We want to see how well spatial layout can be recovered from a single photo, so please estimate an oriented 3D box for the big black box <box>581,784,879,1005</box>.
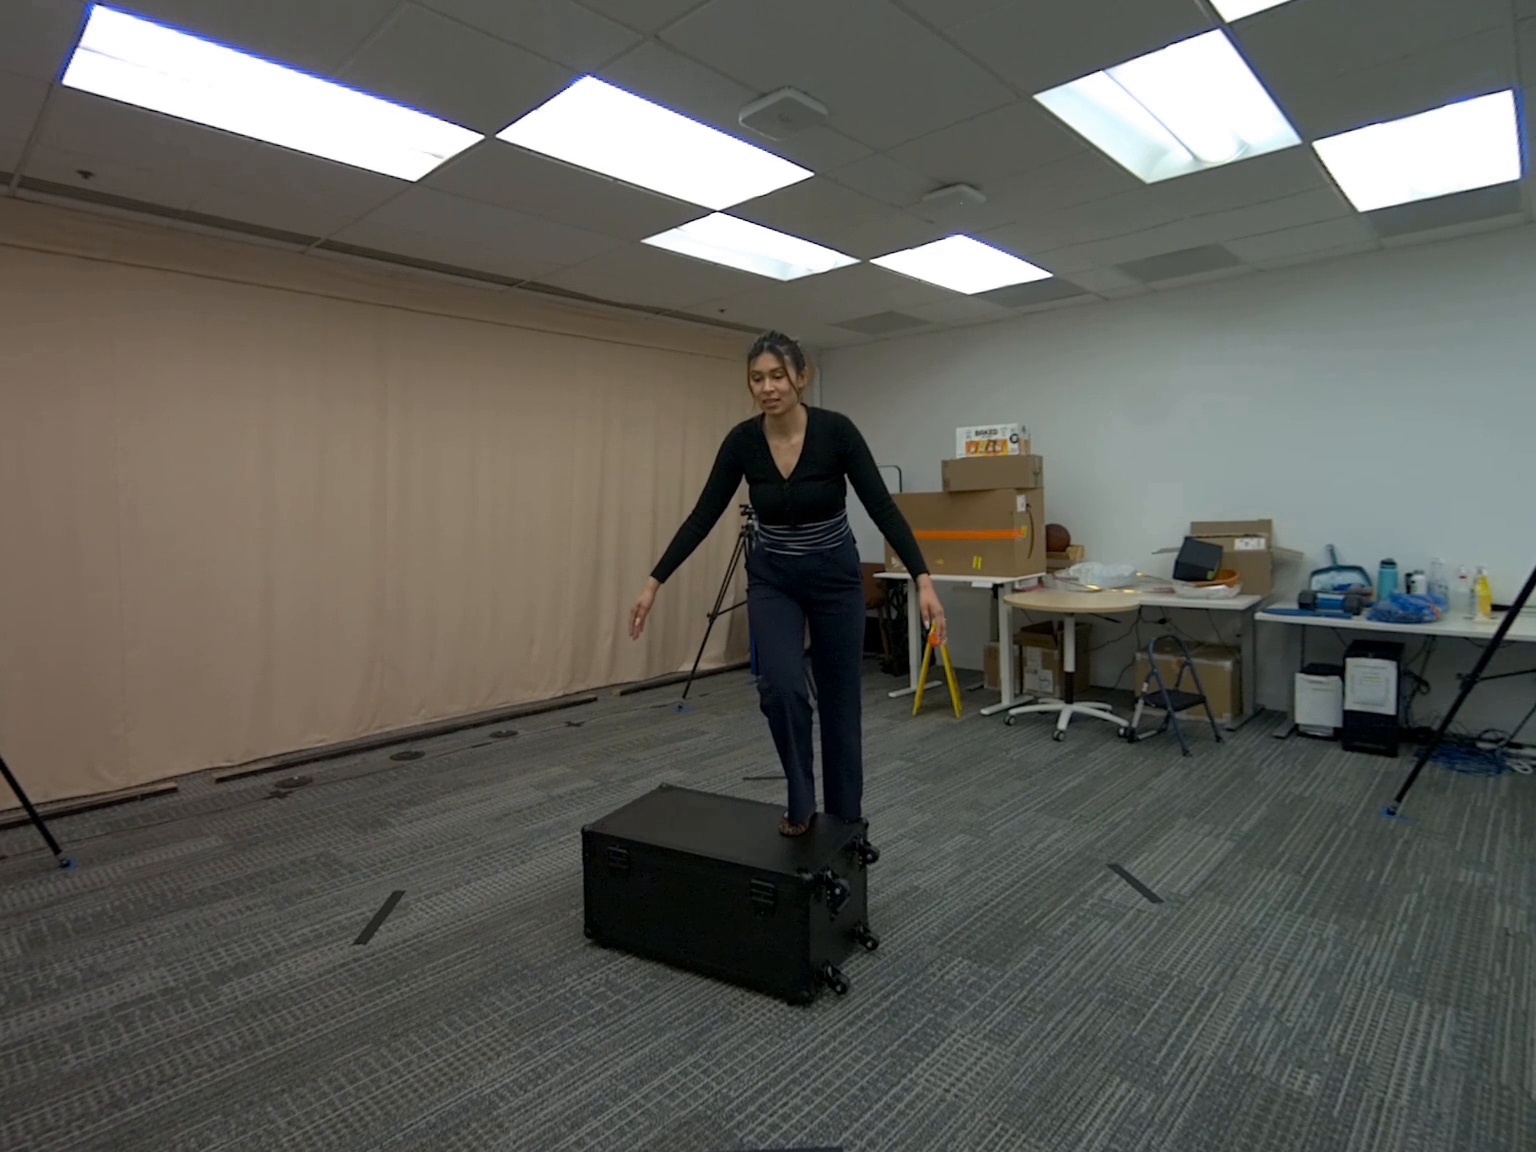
[{"bbox_3d":[-0.106,0.980,2.672,0.885,0.395,0.508,1,4,28],"label":"big black box"}]
